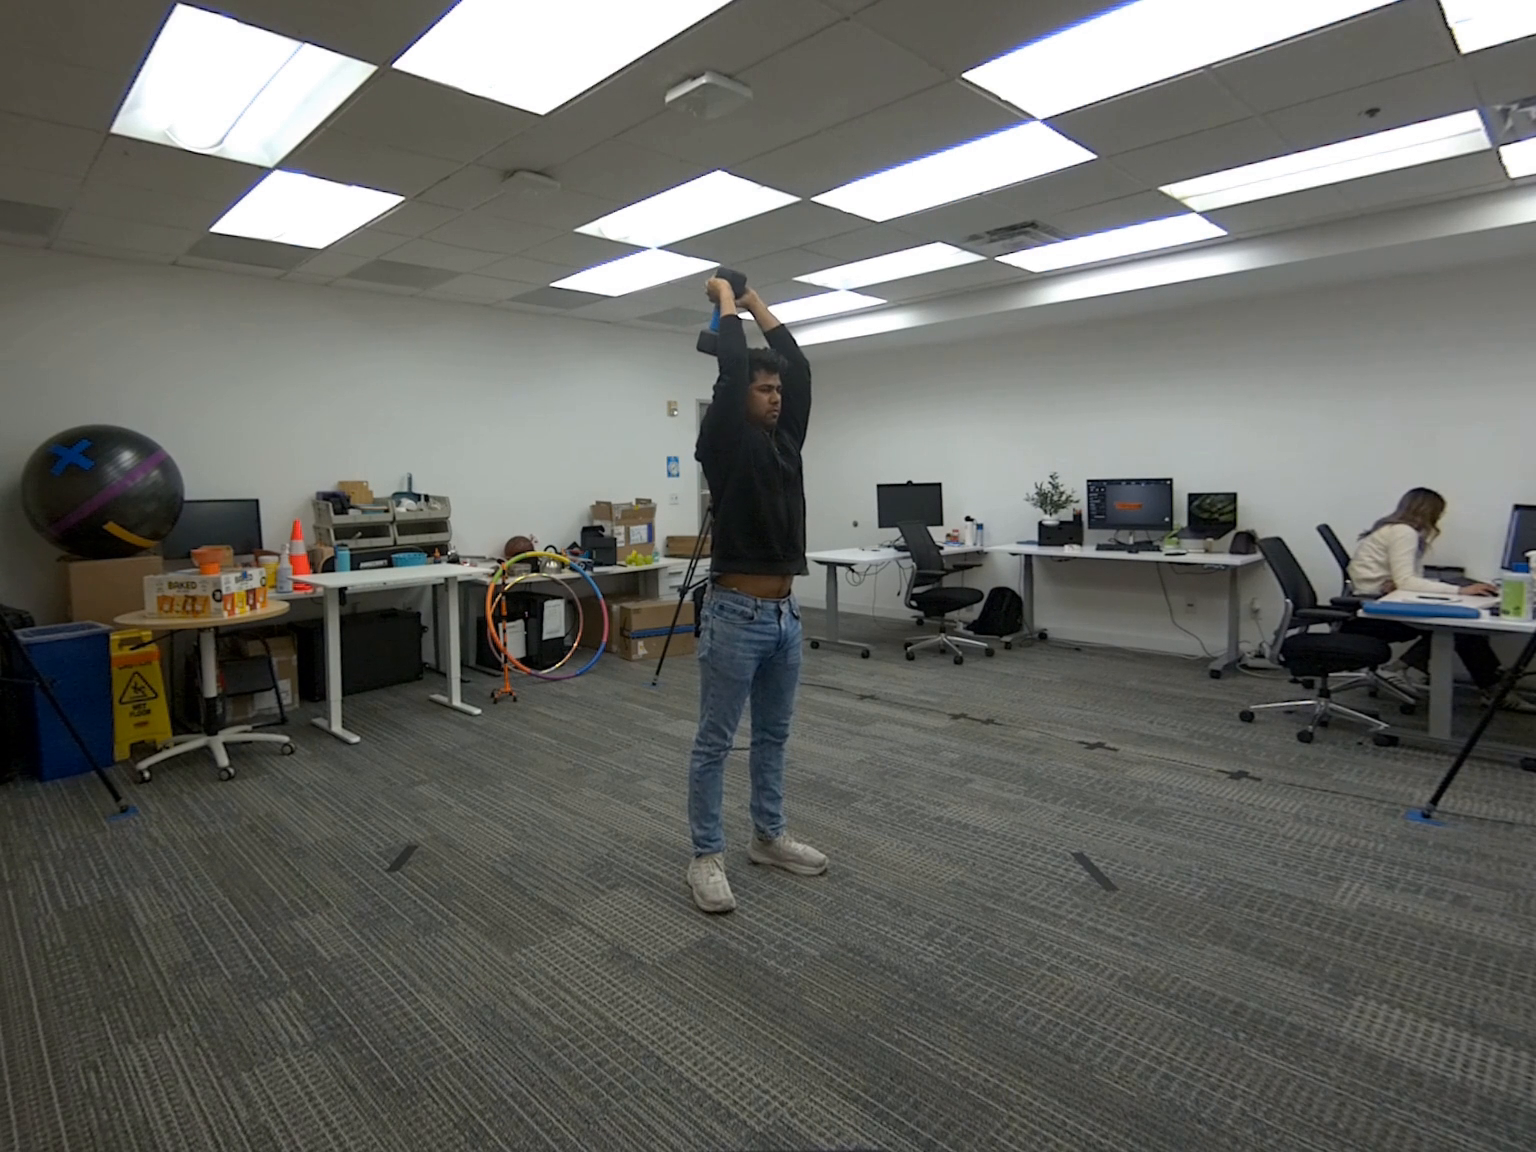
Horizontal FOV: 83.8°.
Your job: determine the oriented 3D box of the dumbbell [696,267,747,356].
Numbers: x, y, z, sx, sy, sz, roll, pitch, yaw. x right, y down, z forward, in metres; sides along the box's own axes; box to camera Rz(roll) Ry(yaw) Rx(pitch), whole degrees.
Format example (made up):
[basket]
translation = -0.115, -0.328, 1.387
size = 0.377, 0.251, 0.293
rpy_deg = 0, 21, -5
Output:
[dumbbell]
translation = -0.156, -0.902, 2.949
size = 0.119, 0.292, 0.113
rpy_deg = 11, 13, -34
